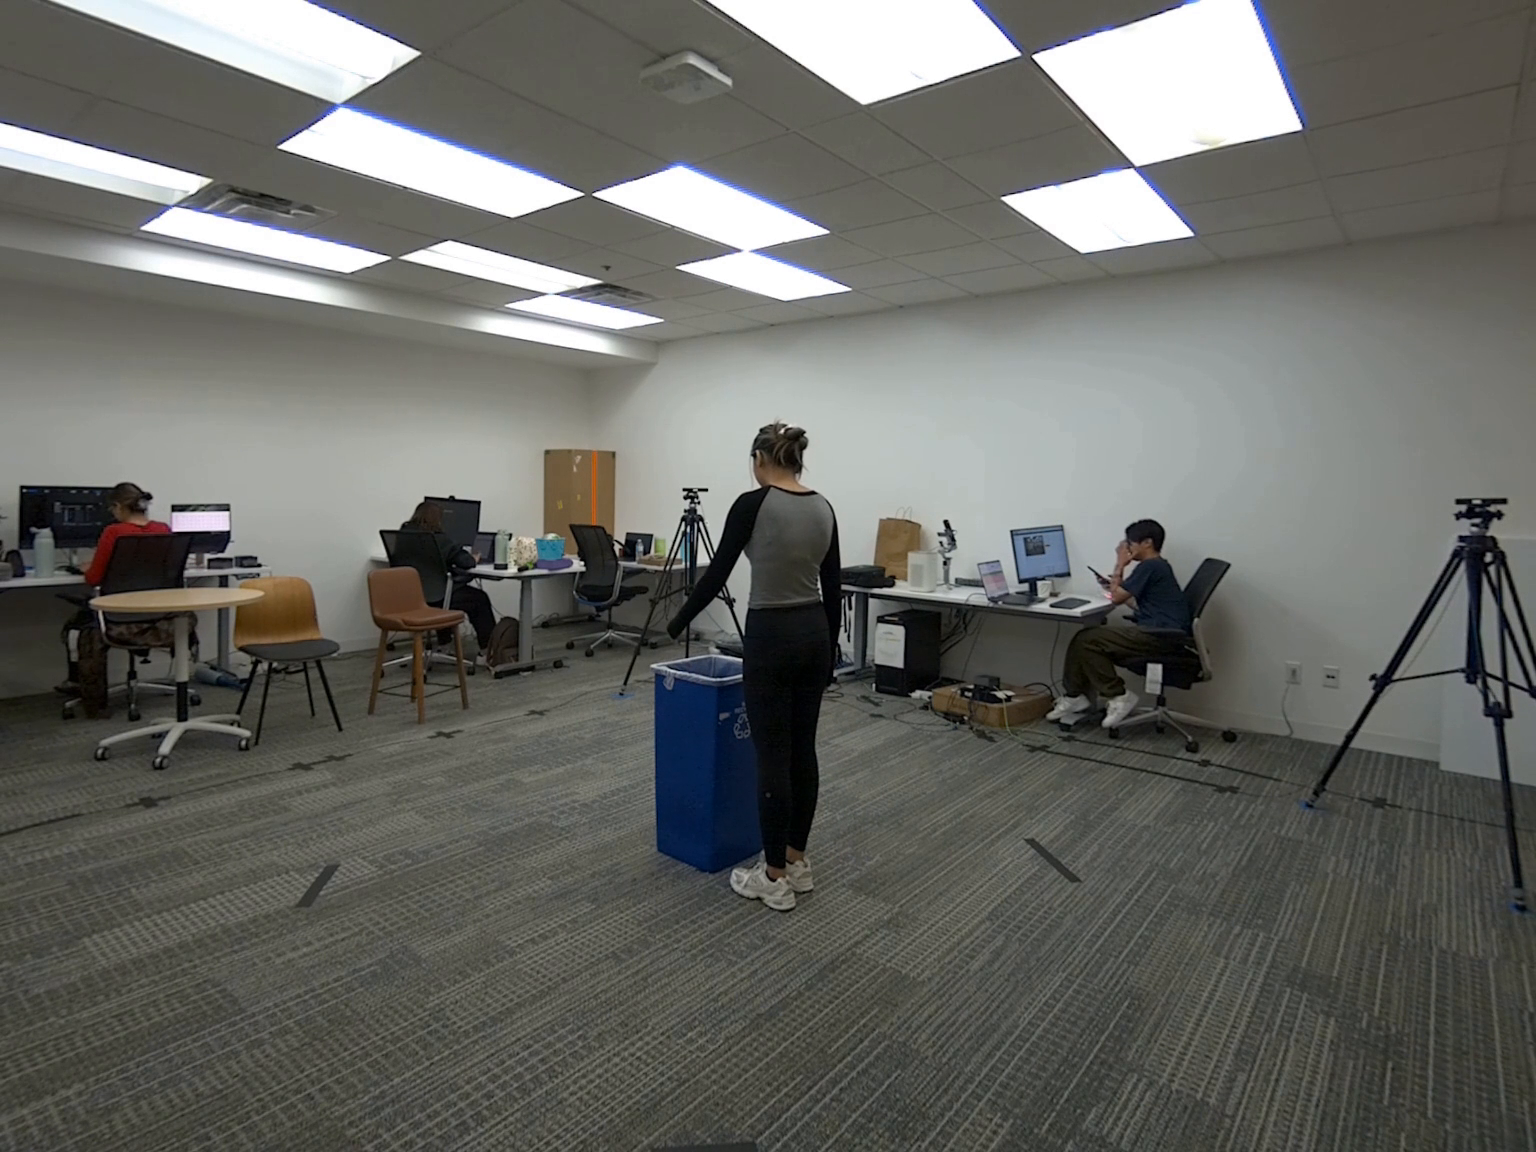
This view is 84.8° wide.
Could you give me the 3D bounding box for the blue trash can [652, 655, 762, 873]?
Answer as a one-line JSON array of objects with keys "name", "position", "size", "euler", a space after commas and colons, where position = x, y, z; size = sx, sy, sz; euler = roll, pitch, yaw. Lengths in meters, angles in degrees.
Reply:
[{"name": "blue trash can", "position": [-0.223, 0.697, 3.267], "size": [0.391, 0.711, 0.363], "euler": [4, 5, 41]}]
